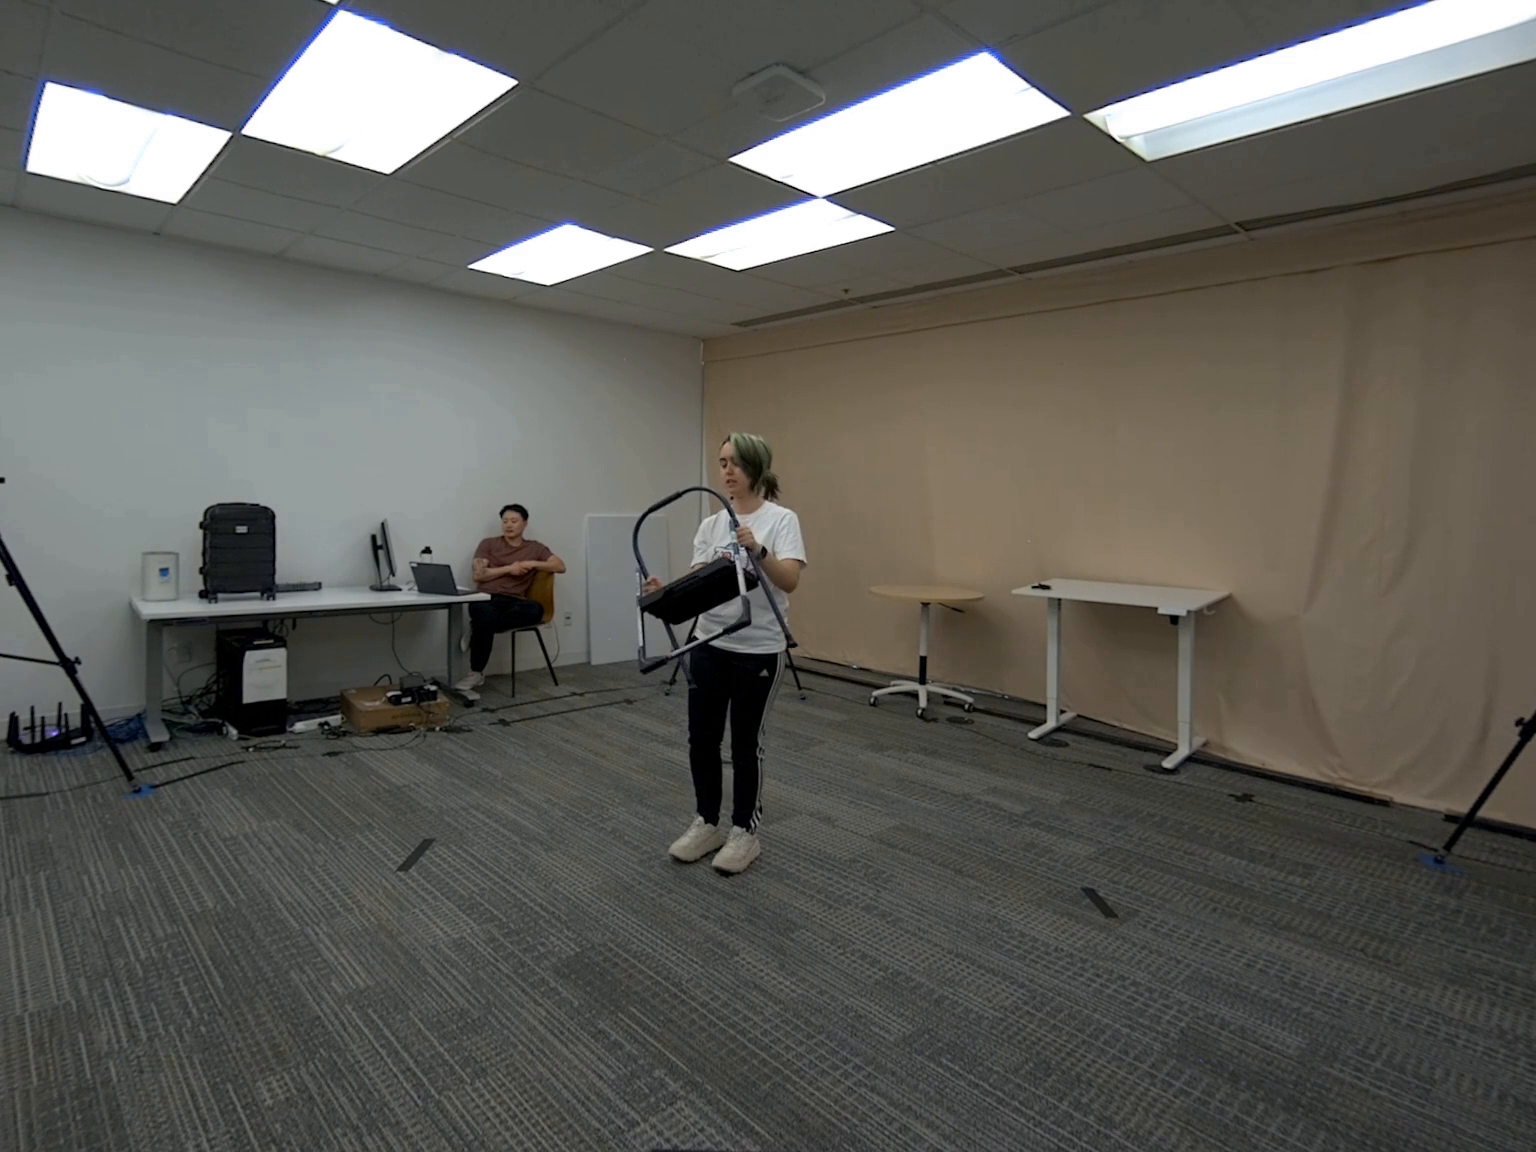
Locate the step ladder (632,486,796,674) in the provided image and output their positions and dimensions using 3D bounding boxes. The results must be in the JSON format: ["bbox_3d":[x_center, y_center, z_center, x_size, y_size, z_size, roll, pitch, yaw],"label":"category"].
[{"bbox_3d":[-0.248,0.013,2.874,0.433,0.620,0.339,-28,-28,19],"label":"step ladder"}]
